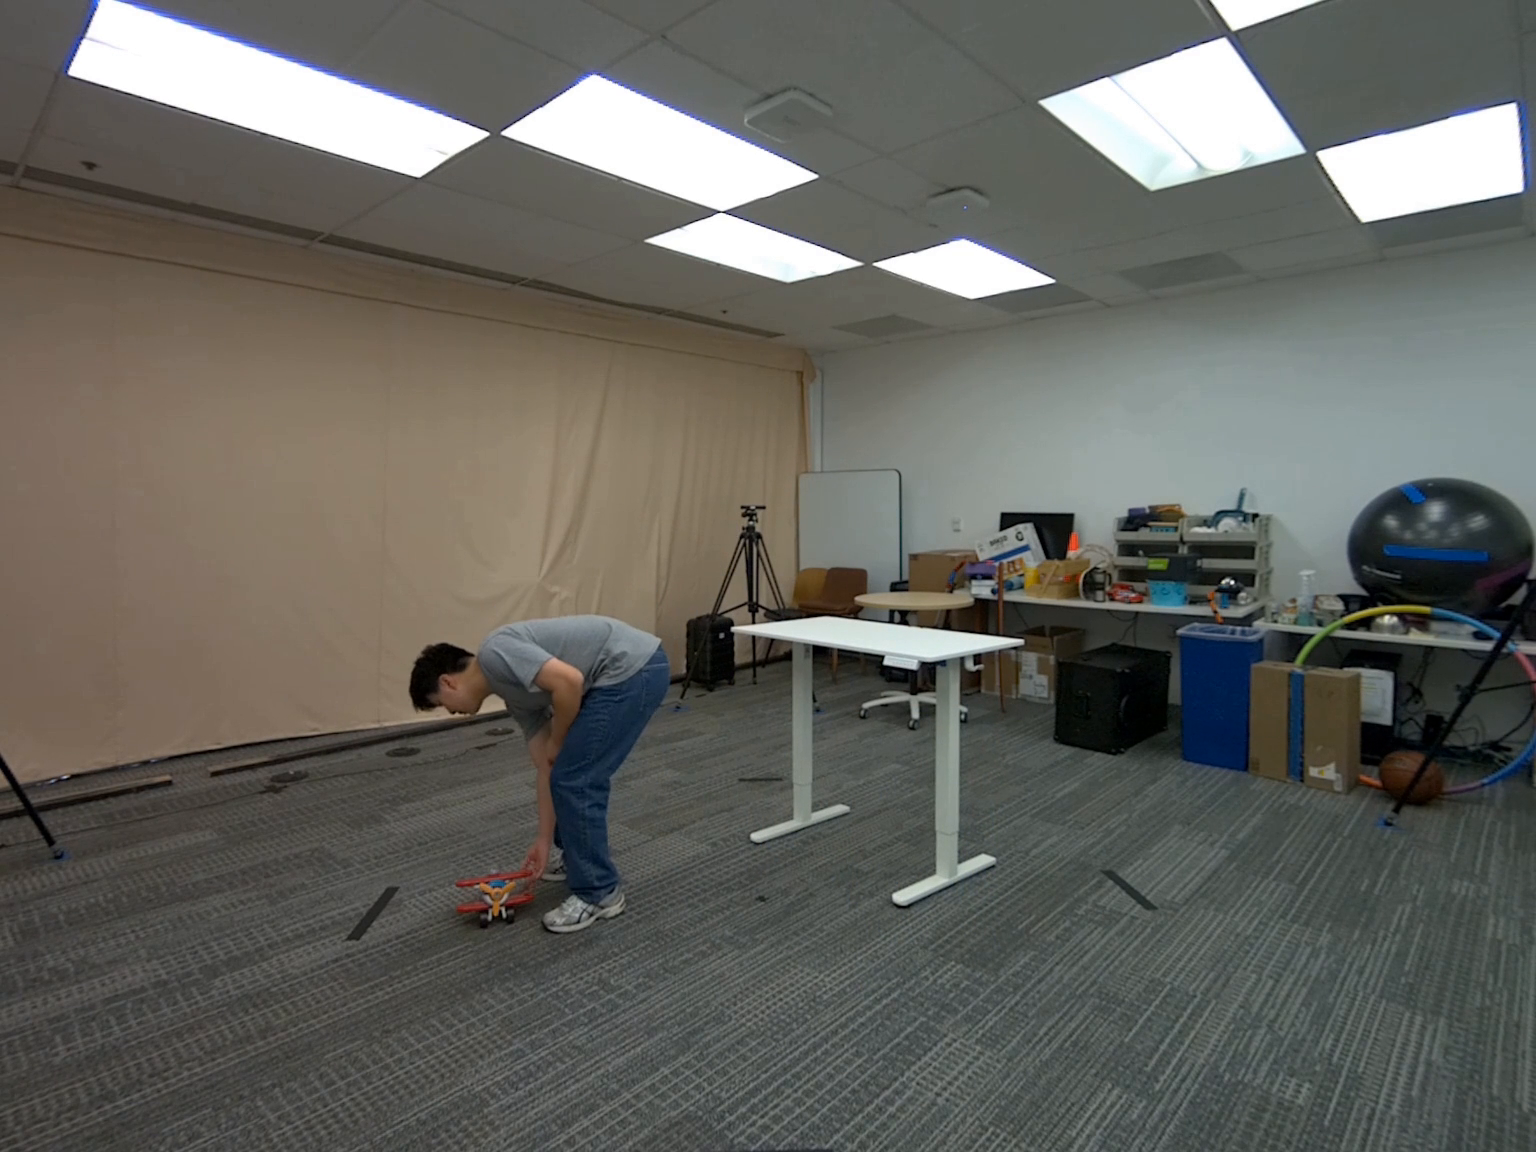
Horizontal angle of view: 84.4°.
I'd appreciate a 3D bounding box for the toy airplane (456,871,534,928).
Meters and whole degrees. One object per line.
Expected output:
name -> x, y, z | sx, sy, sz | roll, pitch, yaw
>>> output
toy airplane -> -0.962, 1.094, 2.885 | 0.268, 0.156, 0.243 | 2, 4, 40
